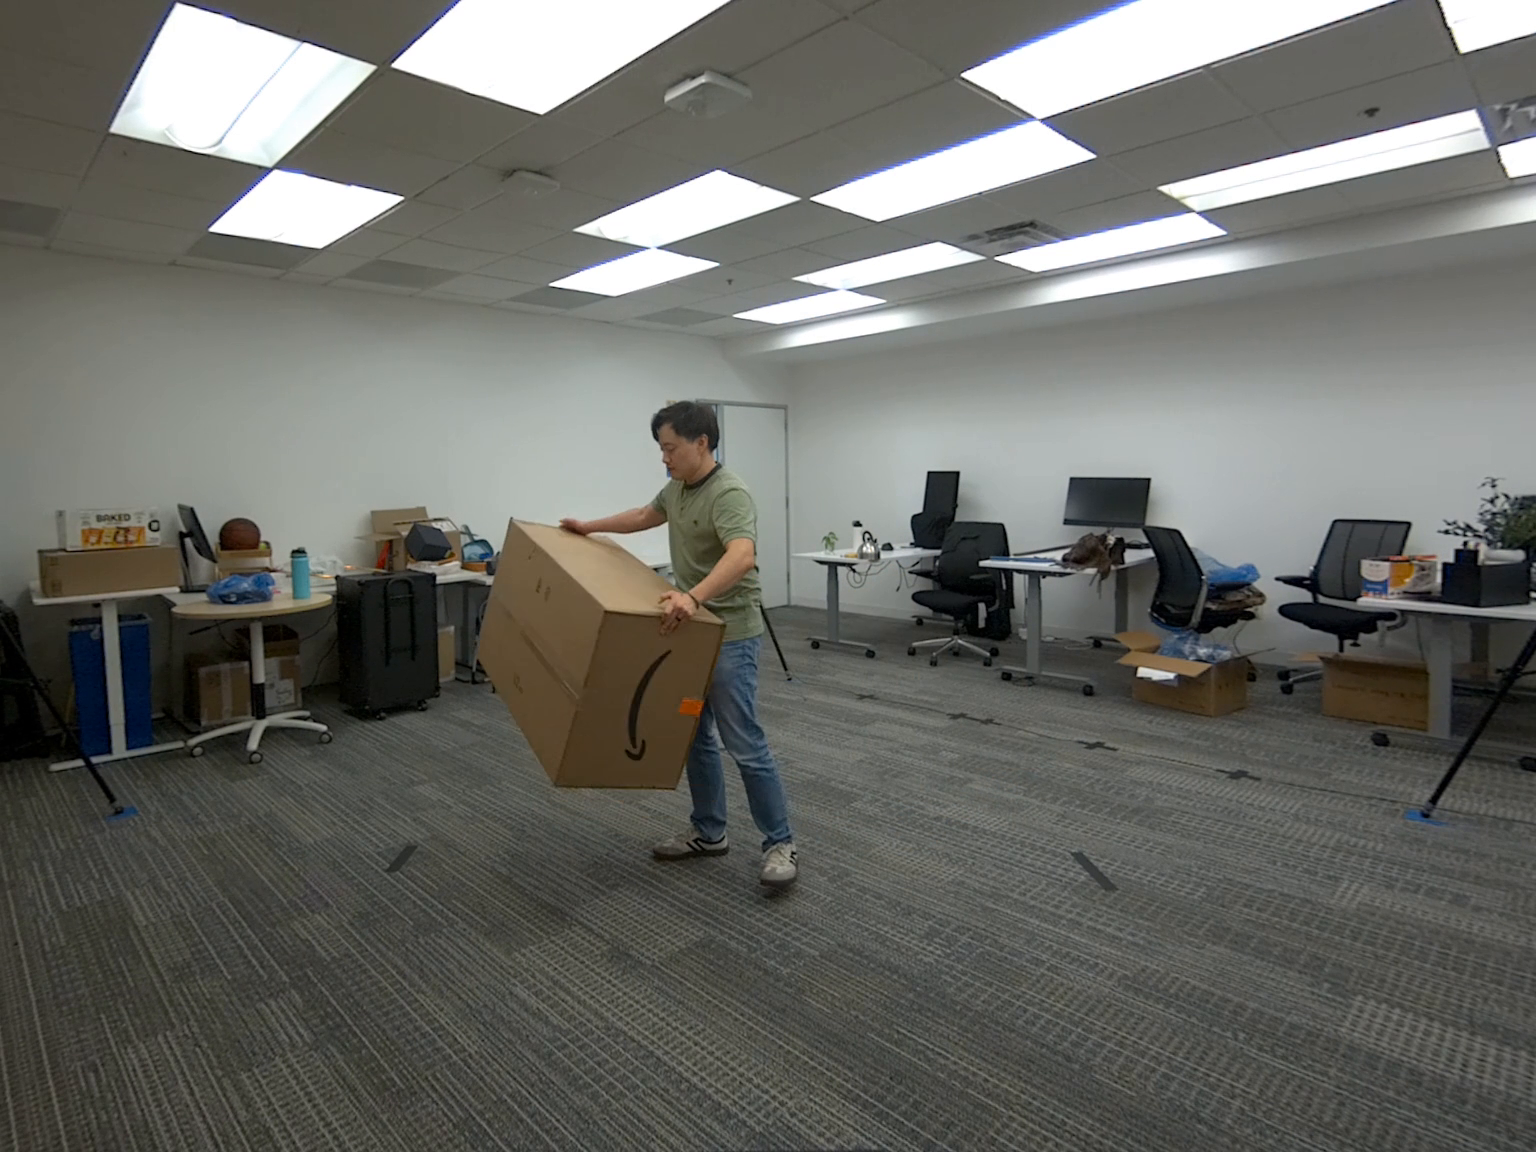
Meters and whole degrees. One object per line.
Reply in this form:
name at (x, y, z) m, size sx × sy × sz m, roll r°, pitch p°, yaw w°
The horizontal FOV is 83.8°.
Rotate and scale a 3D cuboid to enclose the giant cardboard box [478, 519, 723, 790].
giant cardboard box at (-0.632, 0.245, 3.019) m, size 0.413 × 0.574 × 1.063 m, roll 12°, pitch 11°, yaw -34°
